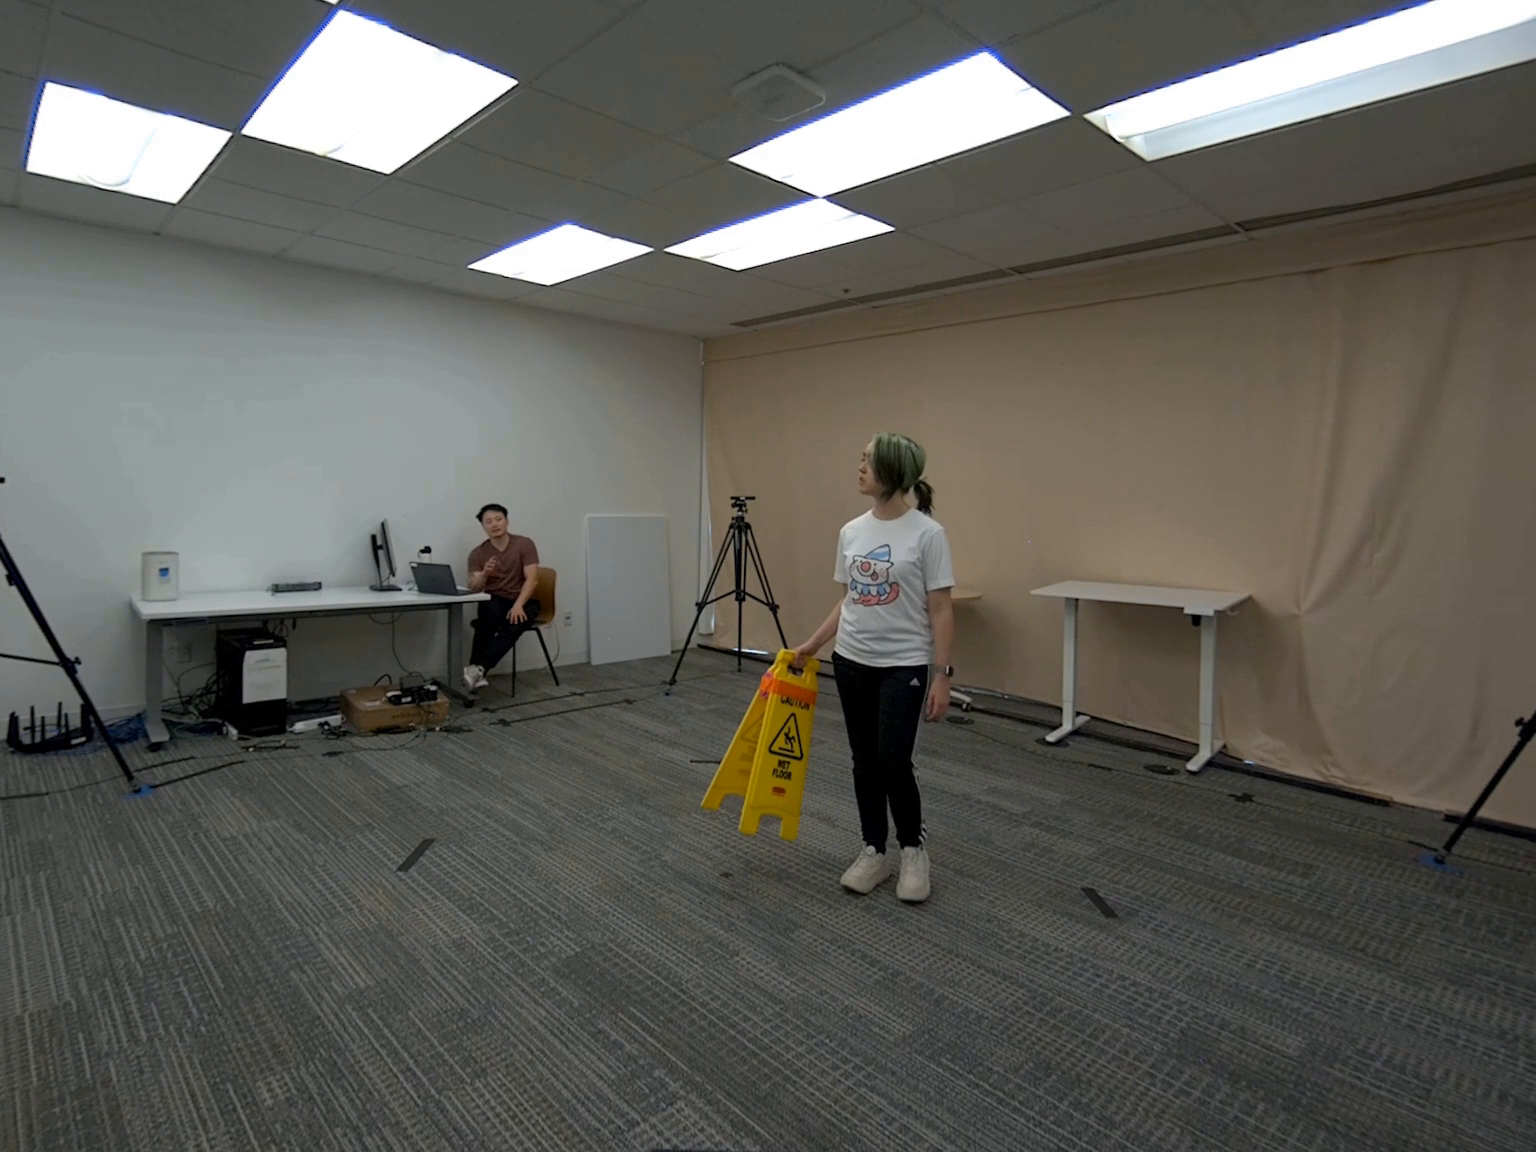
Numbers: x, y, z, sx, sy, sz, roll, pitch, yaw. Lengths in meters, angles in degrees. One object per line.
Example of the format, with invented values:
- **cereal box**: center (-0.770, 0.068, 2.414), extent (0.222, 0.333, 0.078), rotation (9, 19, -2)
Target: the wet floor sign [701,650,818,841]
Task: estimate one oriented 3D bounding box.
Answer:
- **wet floor sign**: center (0.023, 0.600, 3.114), extent (0.274, 0.648, 0.297), rotation (22, -7, -38)
